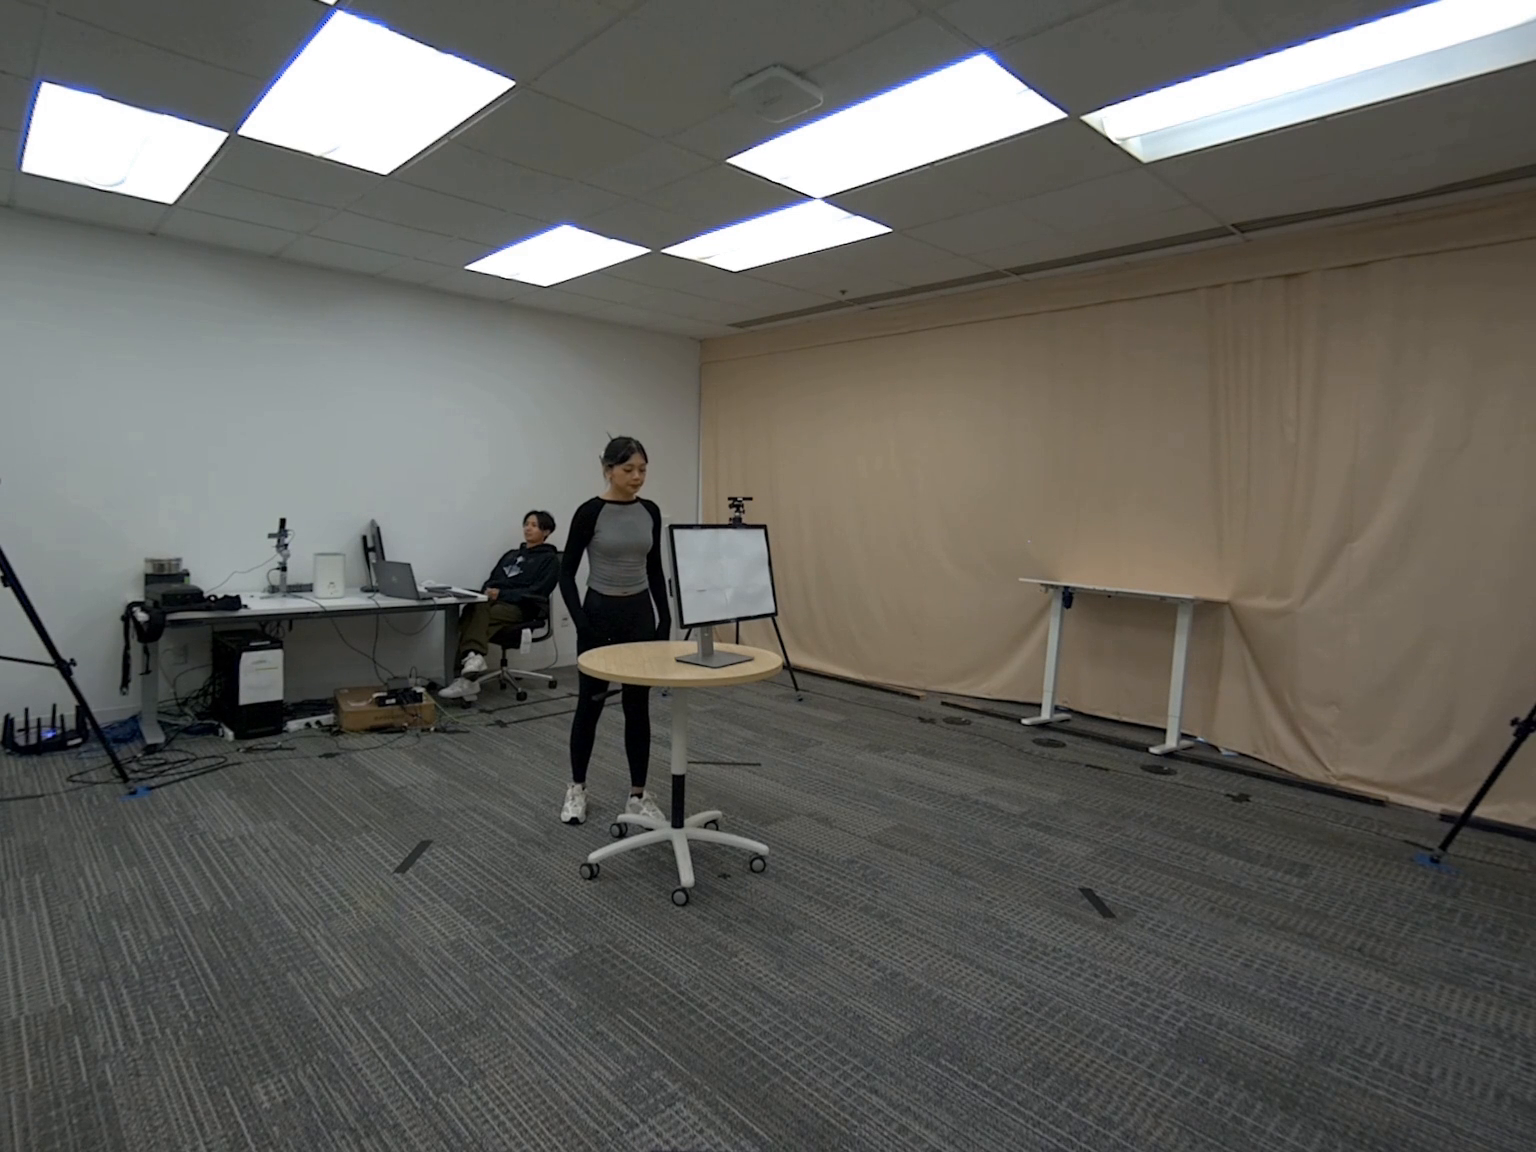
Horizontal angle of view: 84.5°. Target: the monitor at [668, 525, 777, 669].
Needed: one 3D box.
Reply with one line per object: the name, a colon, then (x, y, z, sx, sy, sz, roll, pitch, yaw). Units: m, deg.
monitor: (-0.191, 0.071, 3.110, 0.179, 0.514, 0.518, 13, 8, 37)
